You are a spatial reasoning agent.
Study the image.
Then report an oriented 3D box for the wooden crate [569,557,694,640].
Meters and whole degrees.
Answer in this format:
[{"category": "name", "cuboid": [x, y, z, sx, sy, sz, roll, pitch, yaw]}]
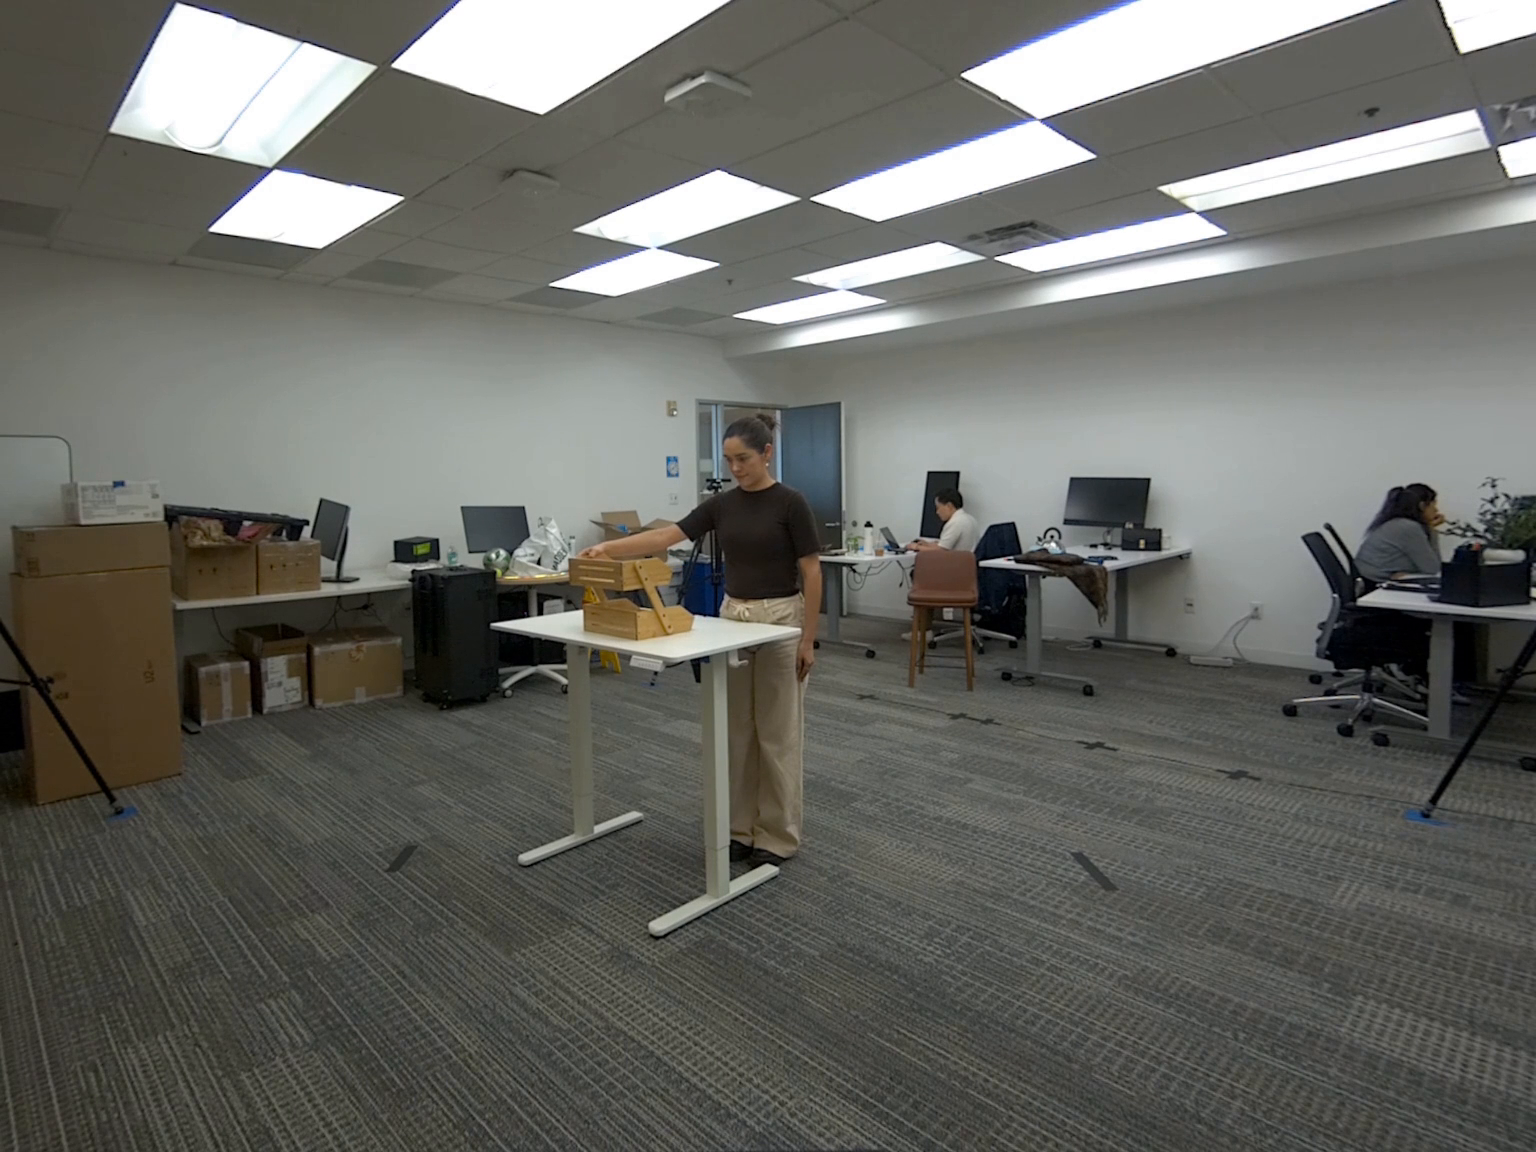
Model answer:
[{"category": "wooden crate", "cuboid": [-0.462, 0.060, 2.914, 0.334, 0.272, 0.294, 3, 7, 45]}]
